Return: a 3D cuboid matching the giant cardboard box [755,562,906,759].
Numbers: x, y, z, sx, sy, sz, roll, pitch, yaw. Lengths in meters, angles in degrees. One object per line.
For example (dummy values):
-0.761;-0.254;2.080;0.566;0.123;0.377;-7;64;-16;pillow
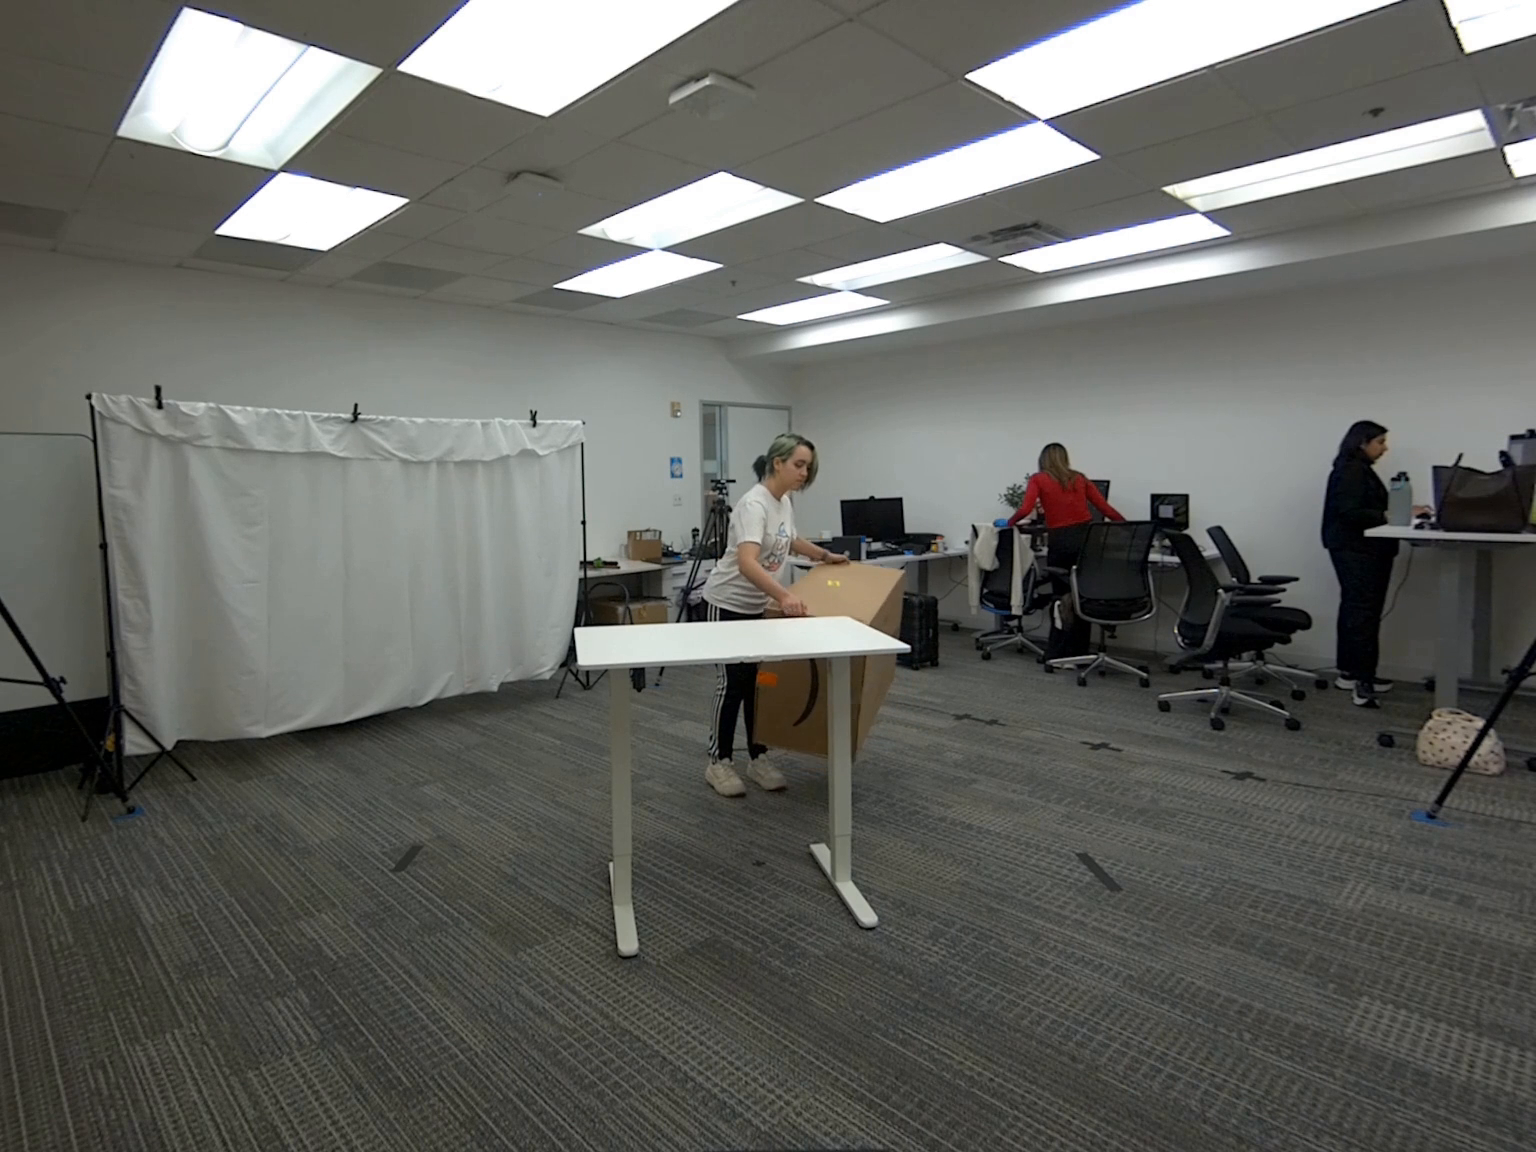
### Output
0.312;0.328;3.857;0.455;0.578;1.019;6;13;16;giant cardboard box
